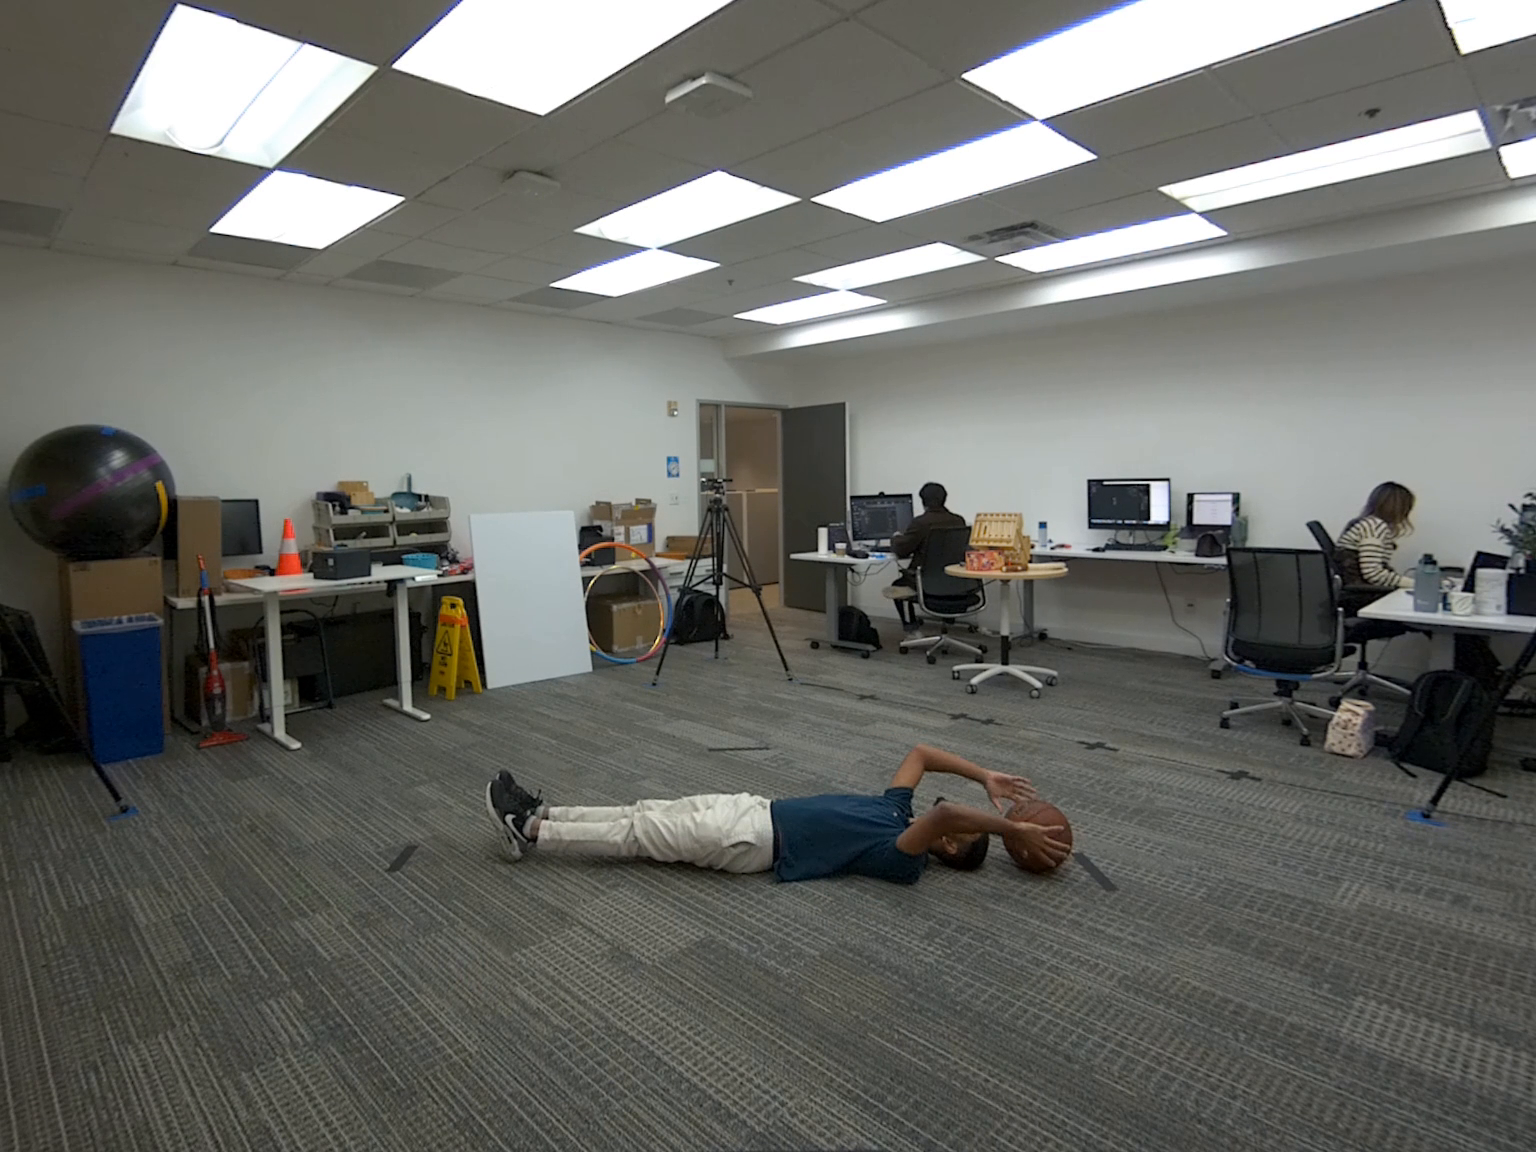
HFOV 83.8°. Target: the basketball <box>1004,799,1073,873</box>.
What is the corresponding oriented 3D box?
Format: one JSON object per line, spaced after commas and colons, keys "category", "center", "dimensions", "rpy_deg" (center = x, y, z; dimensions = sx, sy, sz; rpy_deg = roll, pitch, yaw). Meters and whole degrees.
{"category": "basketball", "center": [0.958, 0.914, 3.032], "dimensions": [0.236, 0.235, 0.237], "rpy_deg": [-1, 5, -2]}
